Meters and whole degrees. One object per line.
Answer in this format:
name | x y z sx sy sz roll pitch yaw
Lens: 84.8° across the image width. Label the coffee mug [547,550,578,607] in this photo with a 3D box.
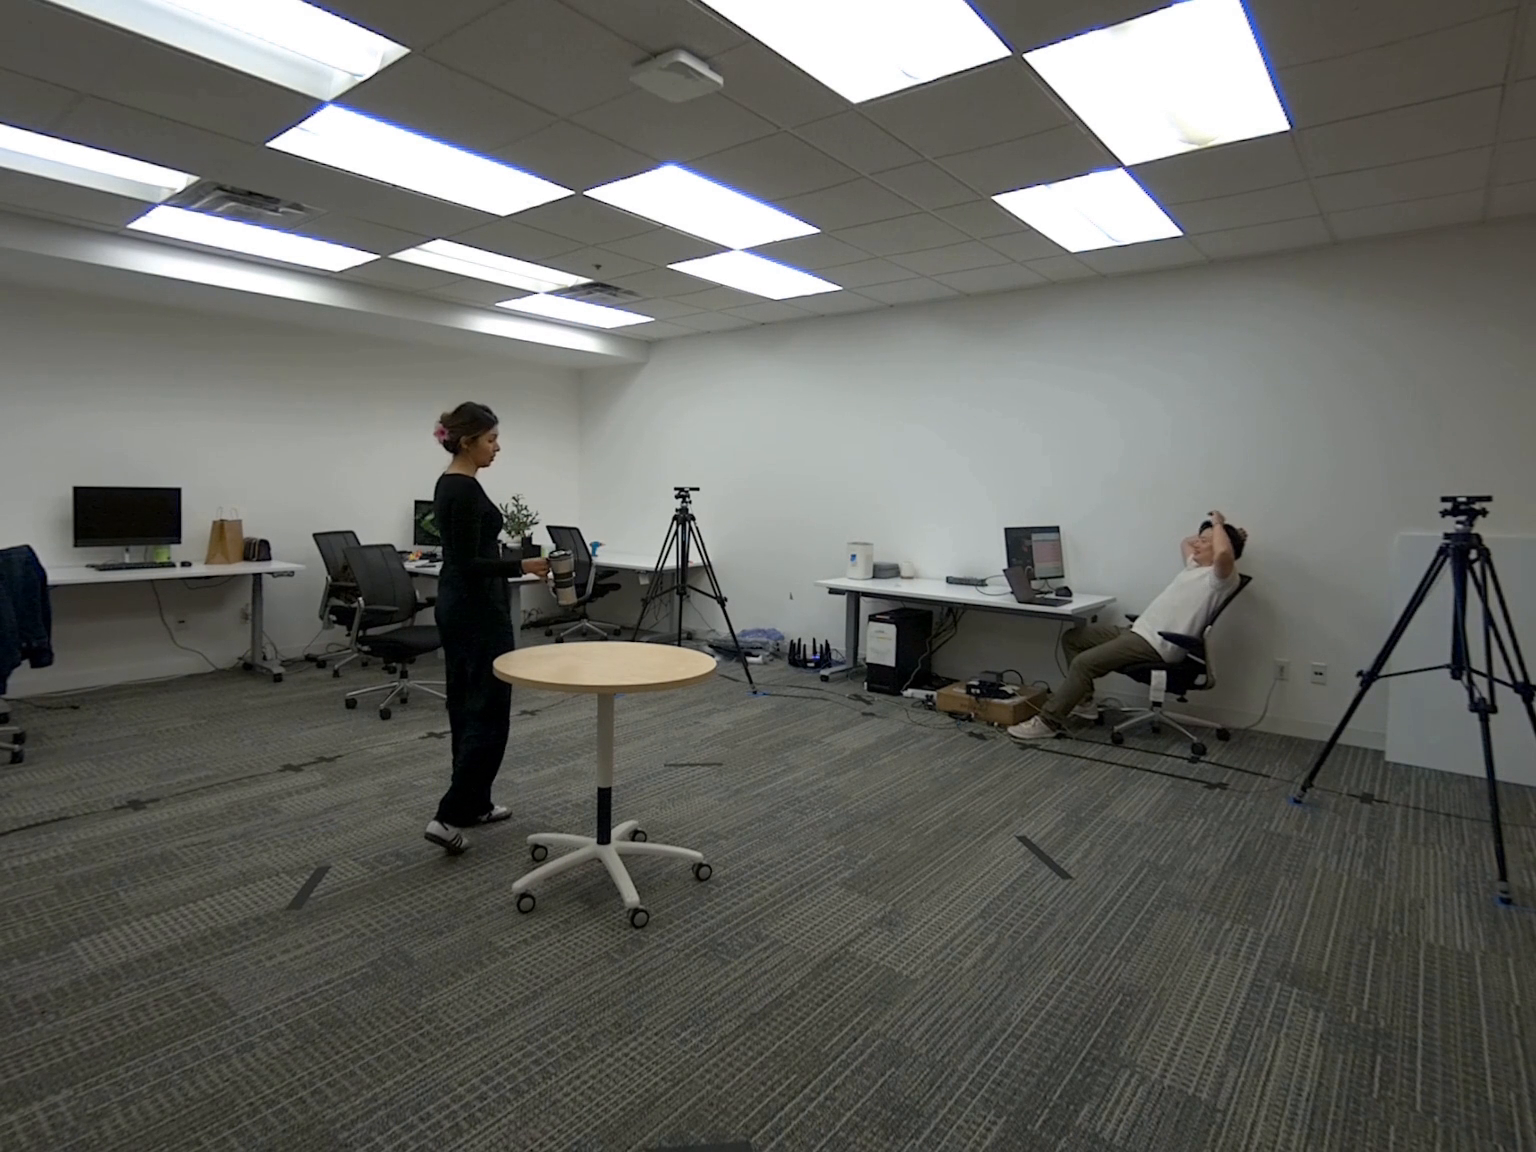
coffee mug | -0.779 0.005 3.137 0.126 0.200 0.086 11 22 41
